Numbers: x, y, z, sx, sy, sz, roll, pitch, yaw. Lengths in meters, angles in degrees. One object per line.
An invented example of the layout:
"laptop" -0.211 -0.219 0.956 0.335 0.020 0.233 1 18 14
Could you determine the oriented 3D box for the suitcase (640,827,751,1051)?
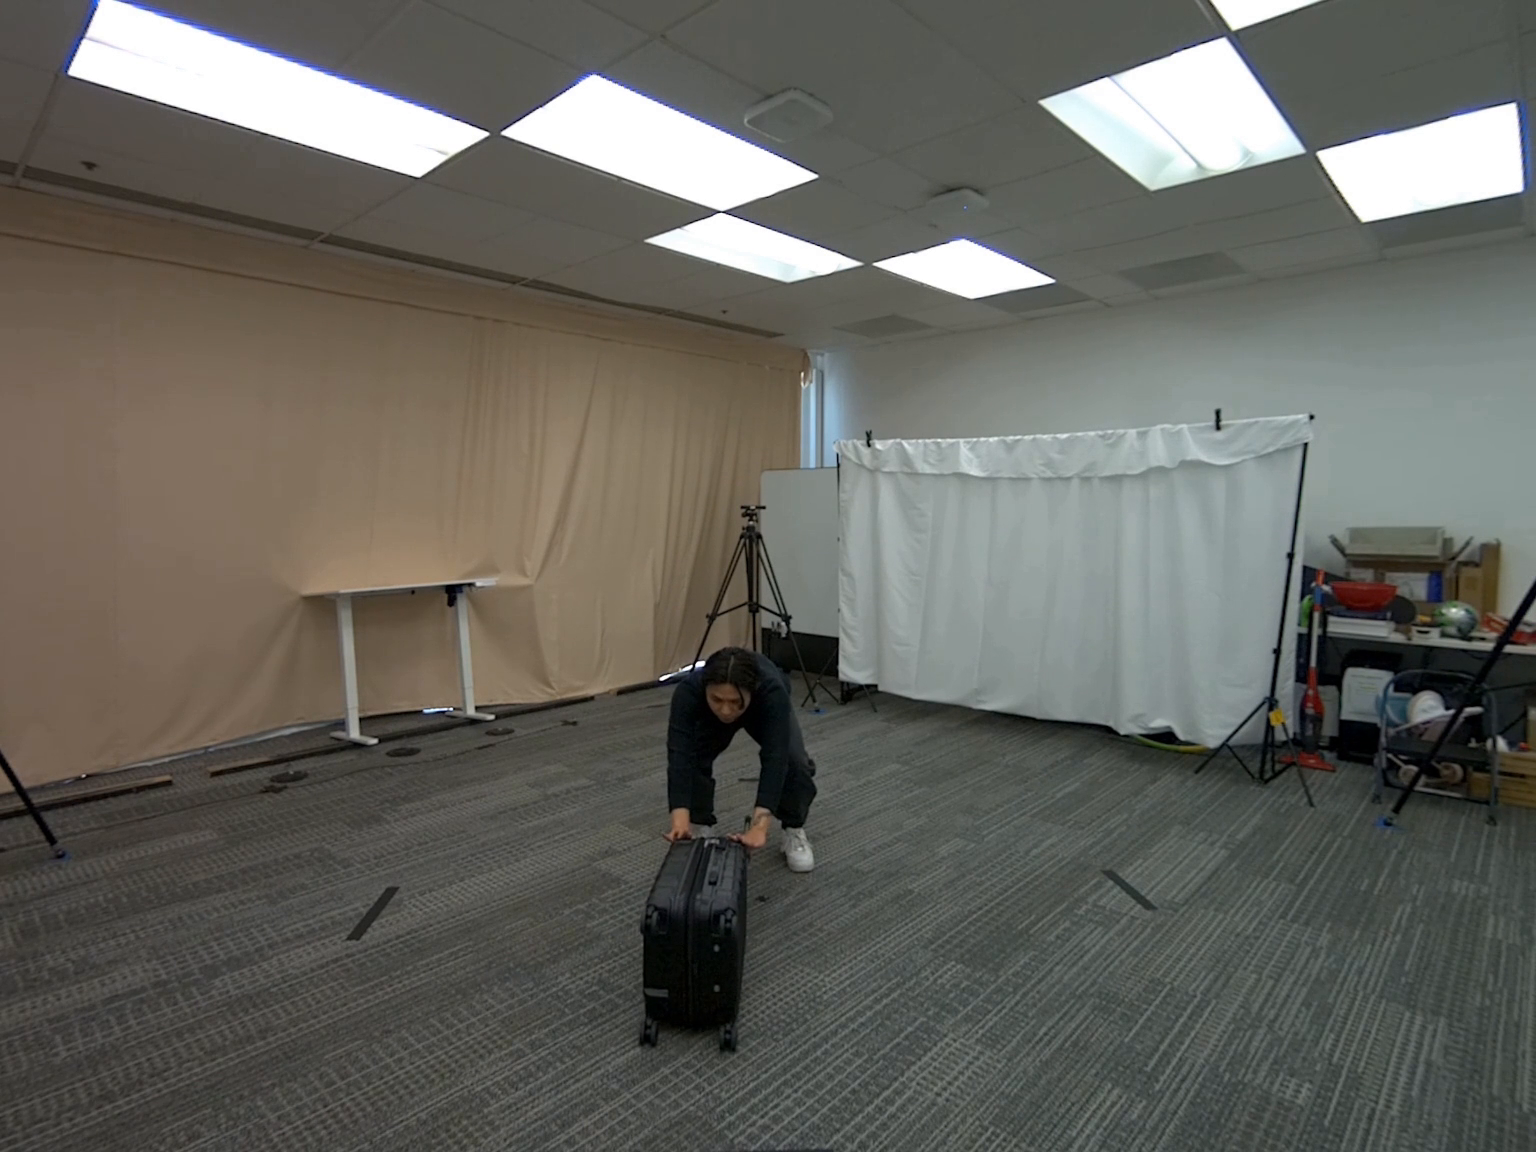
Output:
"suitcase" -0.191 0.980 2.625 0.258 0.383 0.979 2 5 0
